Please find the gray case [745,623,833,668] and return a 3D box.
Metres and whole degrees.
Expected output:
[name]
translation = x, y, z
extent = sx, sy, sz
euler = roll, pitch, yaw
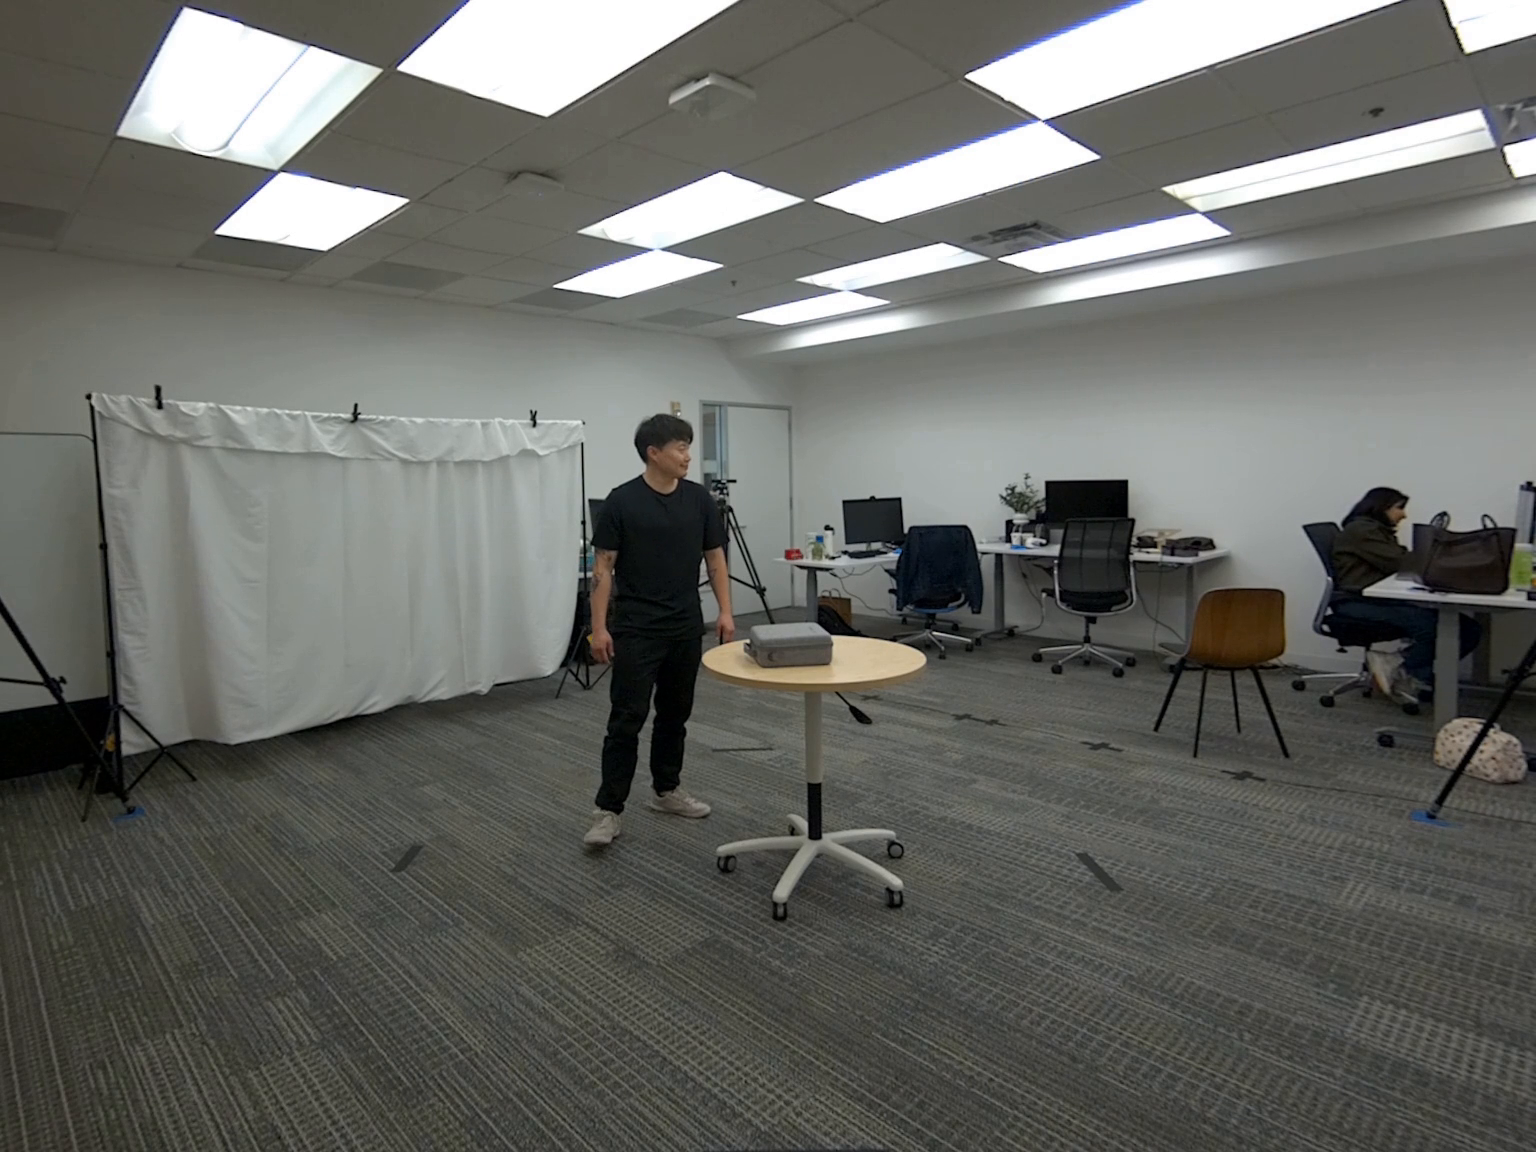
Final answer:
[gray case]
translation = 0.064, 0.233, 2.904
extent = 0.259, 0.104, 0.260
euler = -2, 8, -7
